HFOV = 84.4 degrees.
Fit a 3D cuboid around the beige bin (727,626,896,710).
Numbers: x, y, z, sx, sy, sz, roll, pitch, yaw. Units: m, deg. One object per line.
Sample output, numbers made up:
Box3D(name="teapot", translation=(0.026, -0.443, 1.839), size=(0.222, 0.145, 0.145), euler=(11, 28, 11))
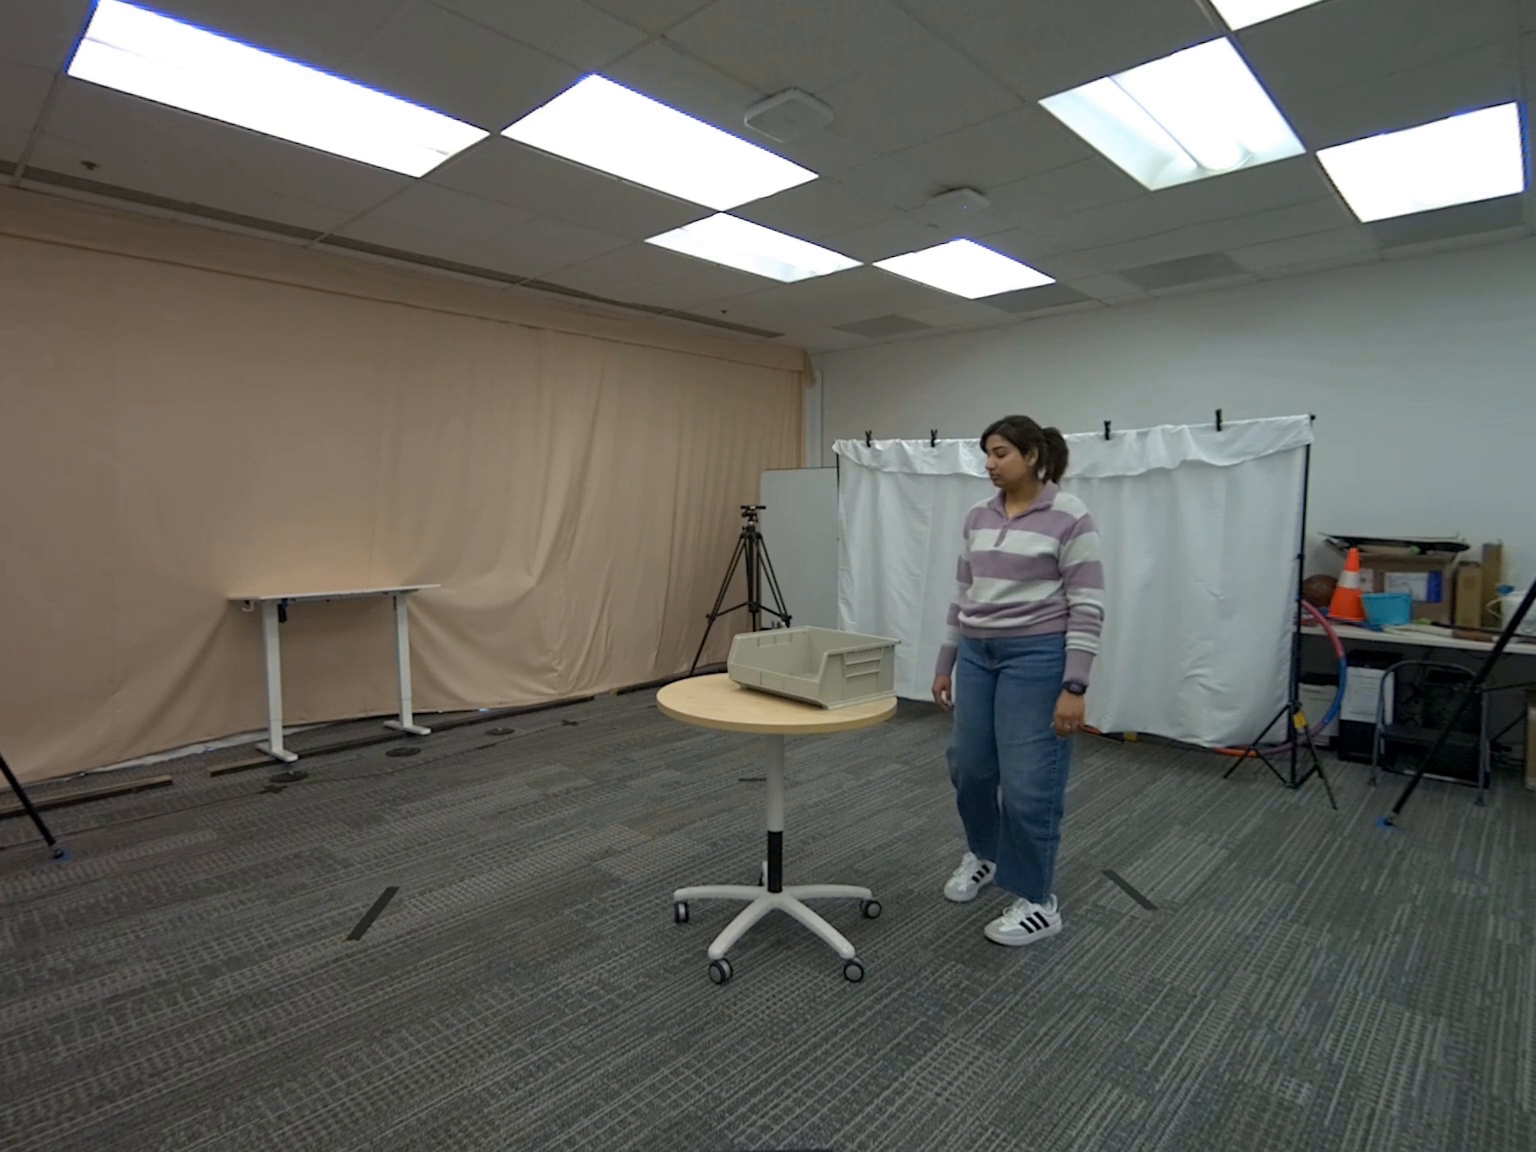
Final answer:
Box3D(name="beige bin", translation=(0.150, 0.297, 2.741), size=(0.365, 0.189, 0.436), euler=(-2, 4, -42))
